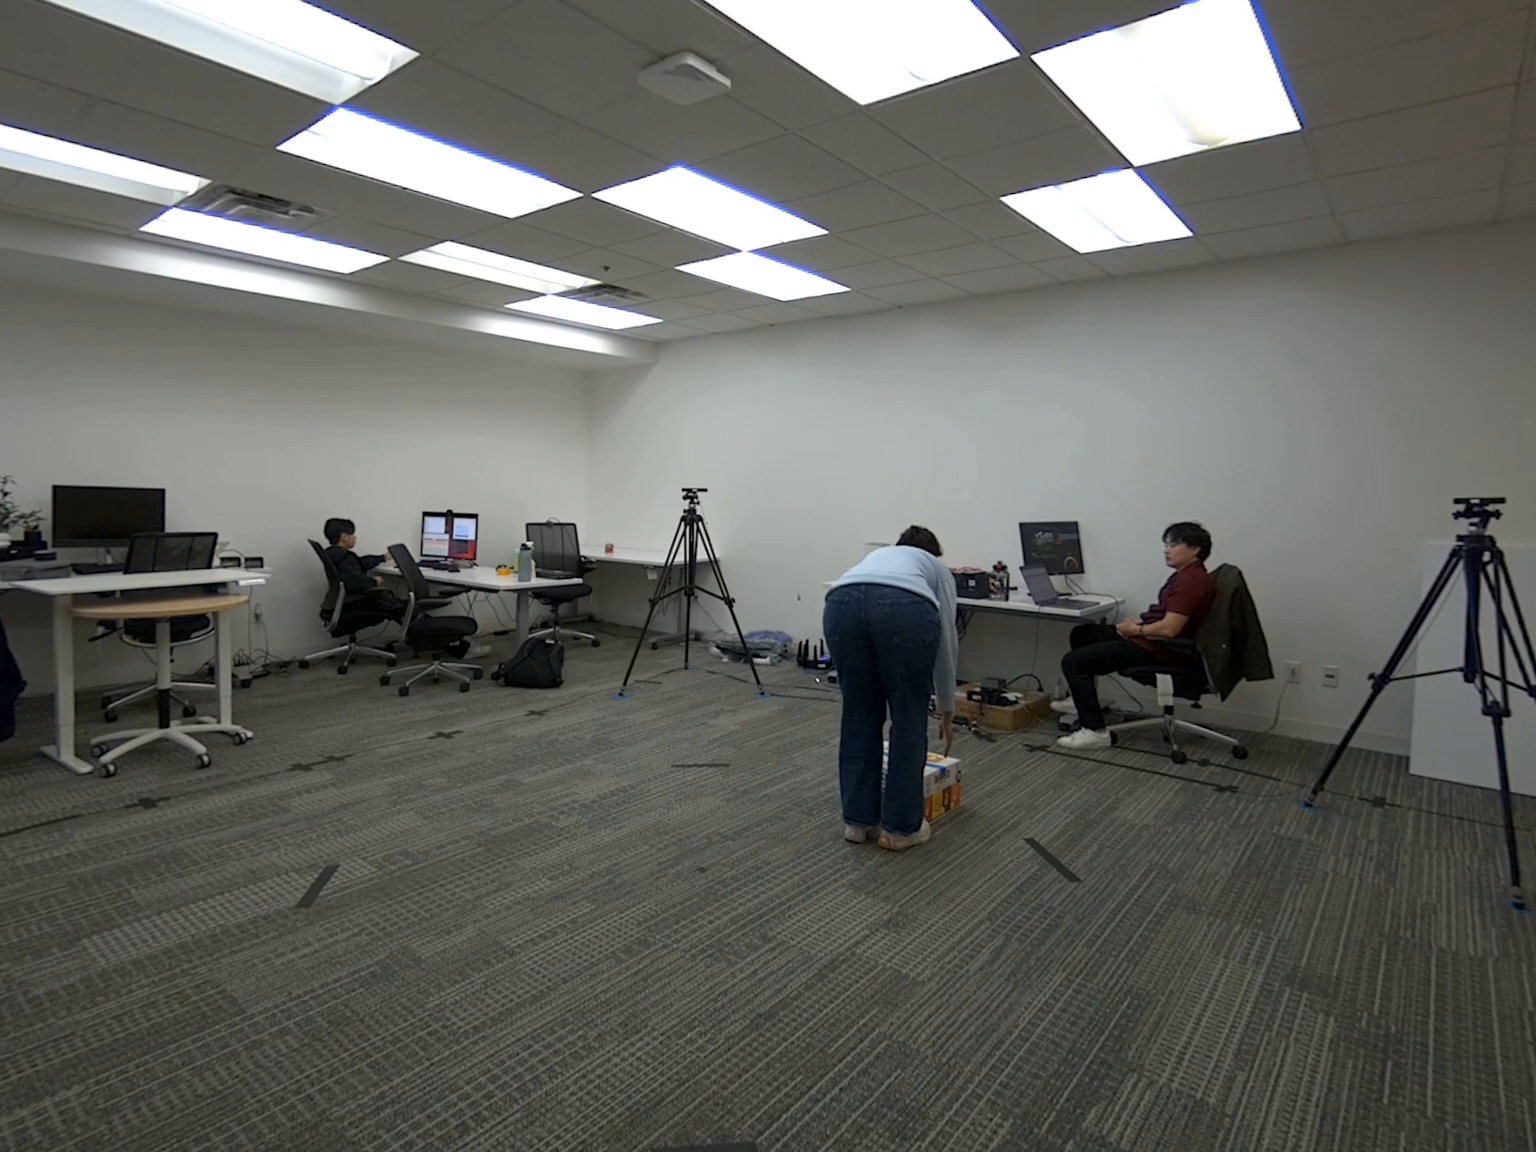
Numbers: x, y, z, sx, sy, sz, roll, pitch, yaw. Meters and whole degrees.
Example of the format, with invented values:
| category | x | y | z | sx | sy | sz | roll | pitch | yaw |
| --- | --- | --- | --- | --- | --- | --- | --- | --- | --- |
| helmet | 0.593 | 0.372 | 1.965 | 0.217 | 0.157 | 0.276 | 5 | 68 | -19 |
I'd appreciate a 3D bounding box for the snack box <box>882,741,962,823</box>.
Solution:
| category | x | y | z | sx | sy | sz | roll | pitch | yaw |
| --- | --- | --- | --- | --- | --- | --- | --- | --- | --- |
| snack box | 0.591 | 0.911 | 3.823 | 0.419 | 0.205 | 0.330 | 6 | 7 | 40 |
